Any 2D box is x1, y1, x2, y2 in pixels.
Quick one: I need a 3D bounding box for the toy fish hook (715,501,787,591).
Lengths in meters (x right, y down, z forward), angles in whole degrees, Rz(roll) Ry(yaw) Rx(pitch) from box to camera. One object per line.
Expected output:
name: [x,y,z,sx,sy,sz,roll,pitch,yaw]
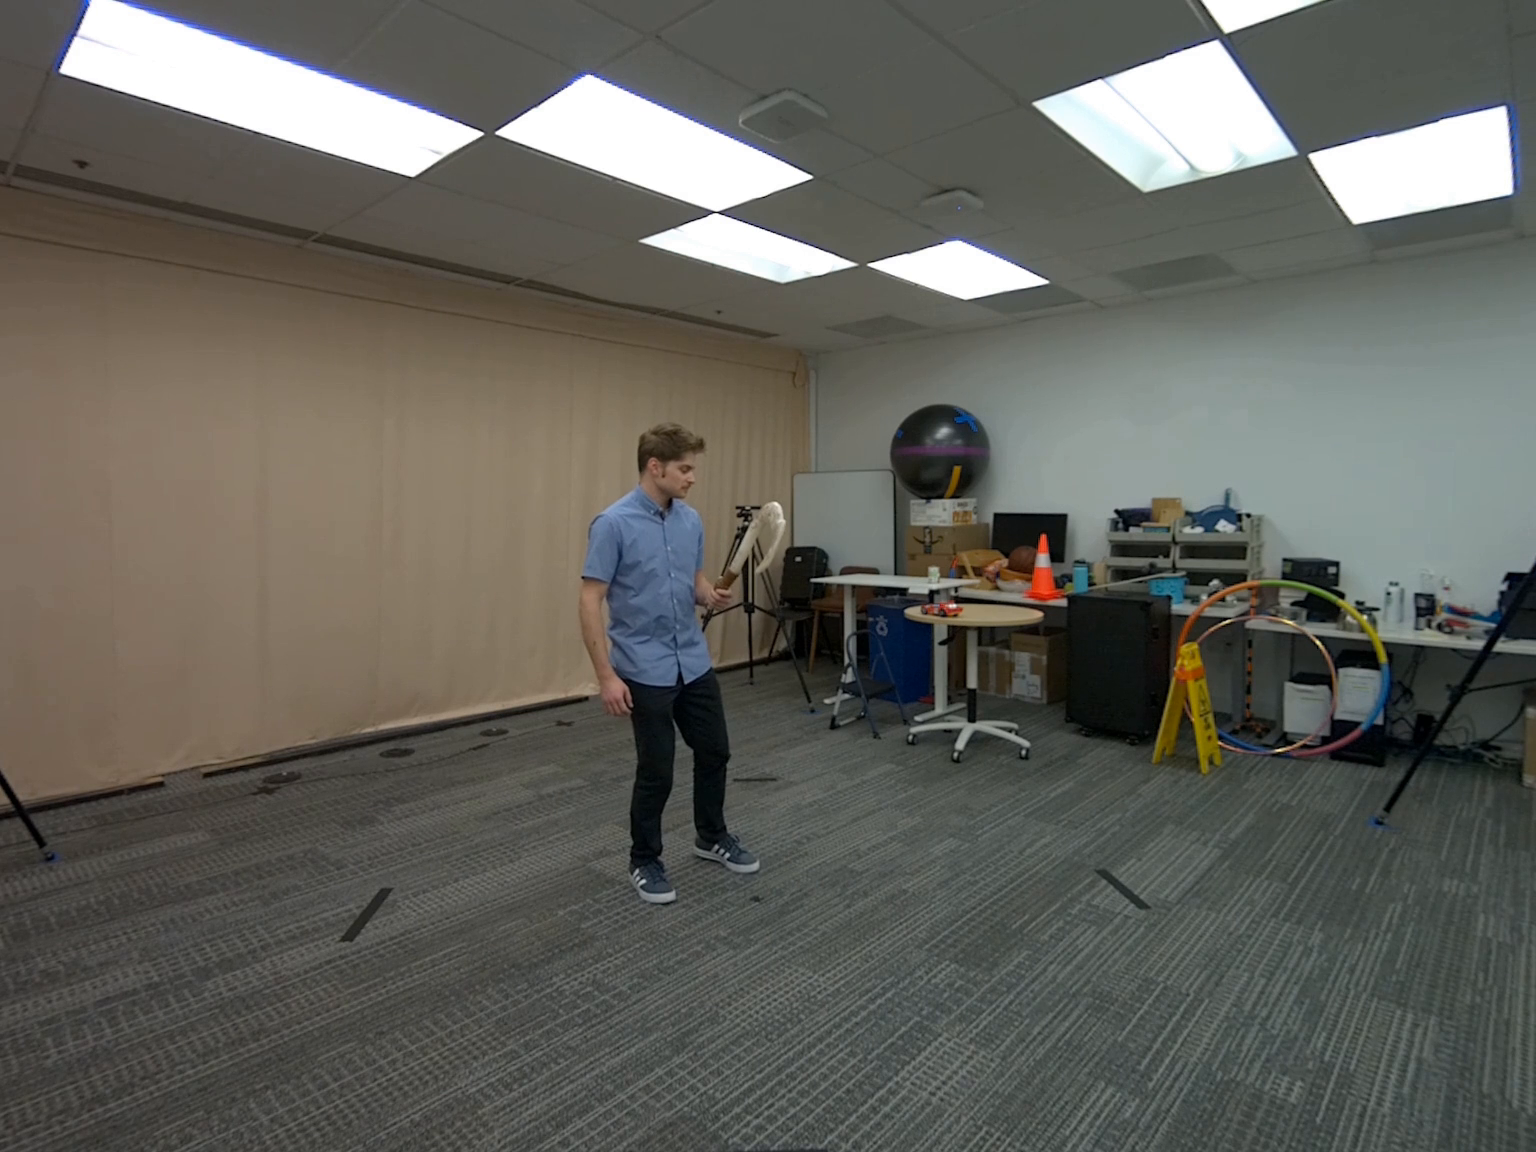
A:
toy fish hook: [-0.074,-0.027,2.796,0.047,0.507,0.230,18,36,-22]
